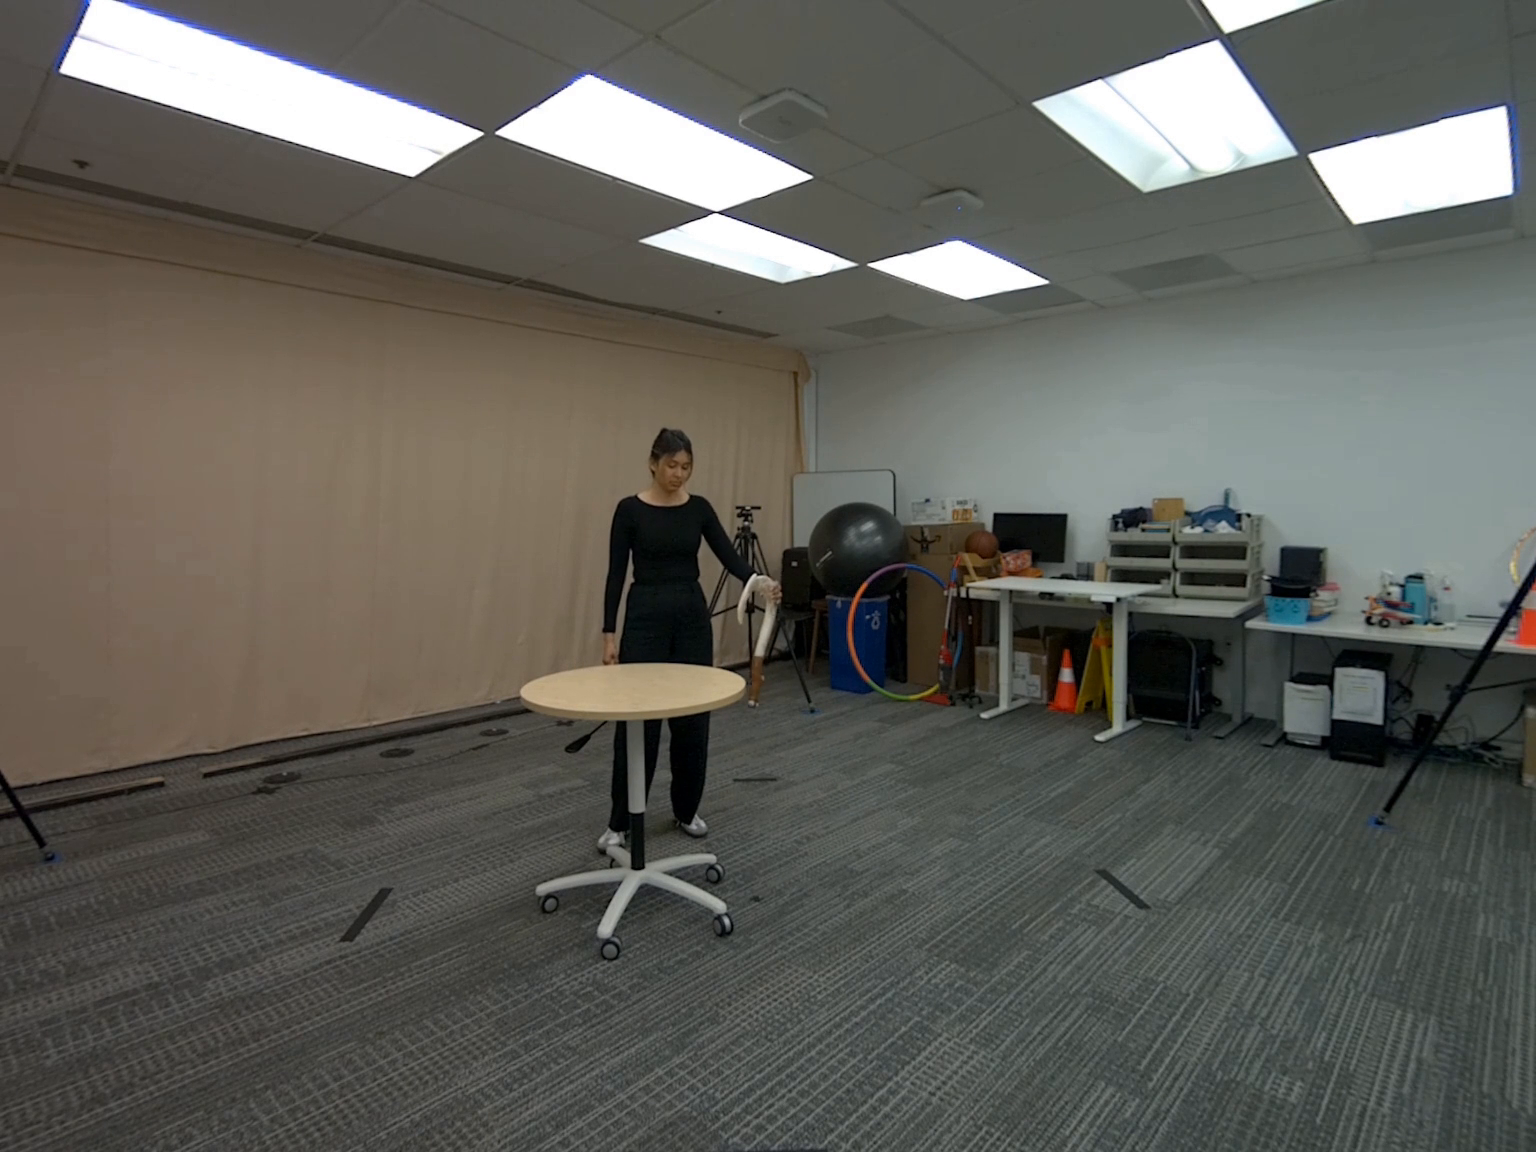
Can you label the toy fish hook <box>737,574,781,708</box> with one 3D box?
[{"bbox_3d":[-0.053,0.251,3.213,0.050,0.508,0.217,1,-6,45],"label":"toy fish hook"}]
